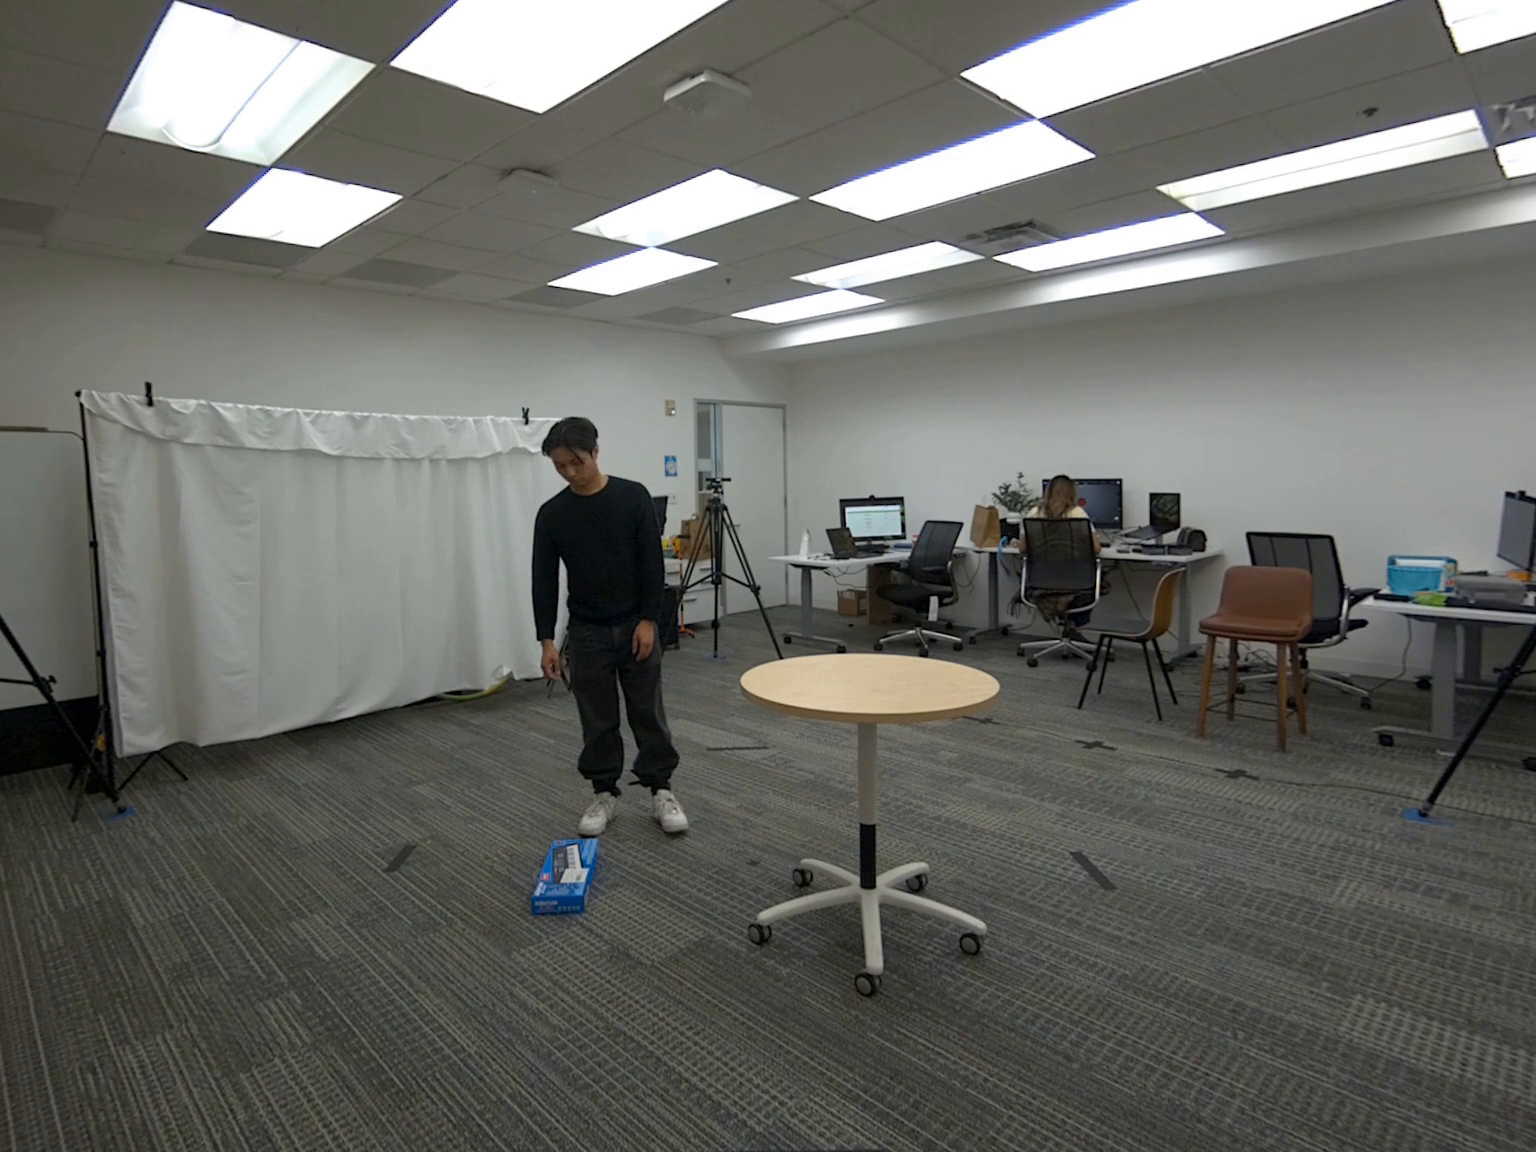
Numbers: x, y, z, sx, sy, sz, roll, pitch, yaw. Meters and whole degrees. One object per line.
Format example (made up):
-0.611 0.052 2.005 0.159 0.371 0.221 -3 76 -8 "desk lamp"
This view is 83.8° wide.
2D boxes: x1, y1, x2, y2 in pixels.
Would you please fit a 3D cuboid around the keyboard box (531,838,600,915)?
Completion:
-0.700 1.048 2.966 0.175 0.059 0.440 -2 7 -4 "keyboard box"
